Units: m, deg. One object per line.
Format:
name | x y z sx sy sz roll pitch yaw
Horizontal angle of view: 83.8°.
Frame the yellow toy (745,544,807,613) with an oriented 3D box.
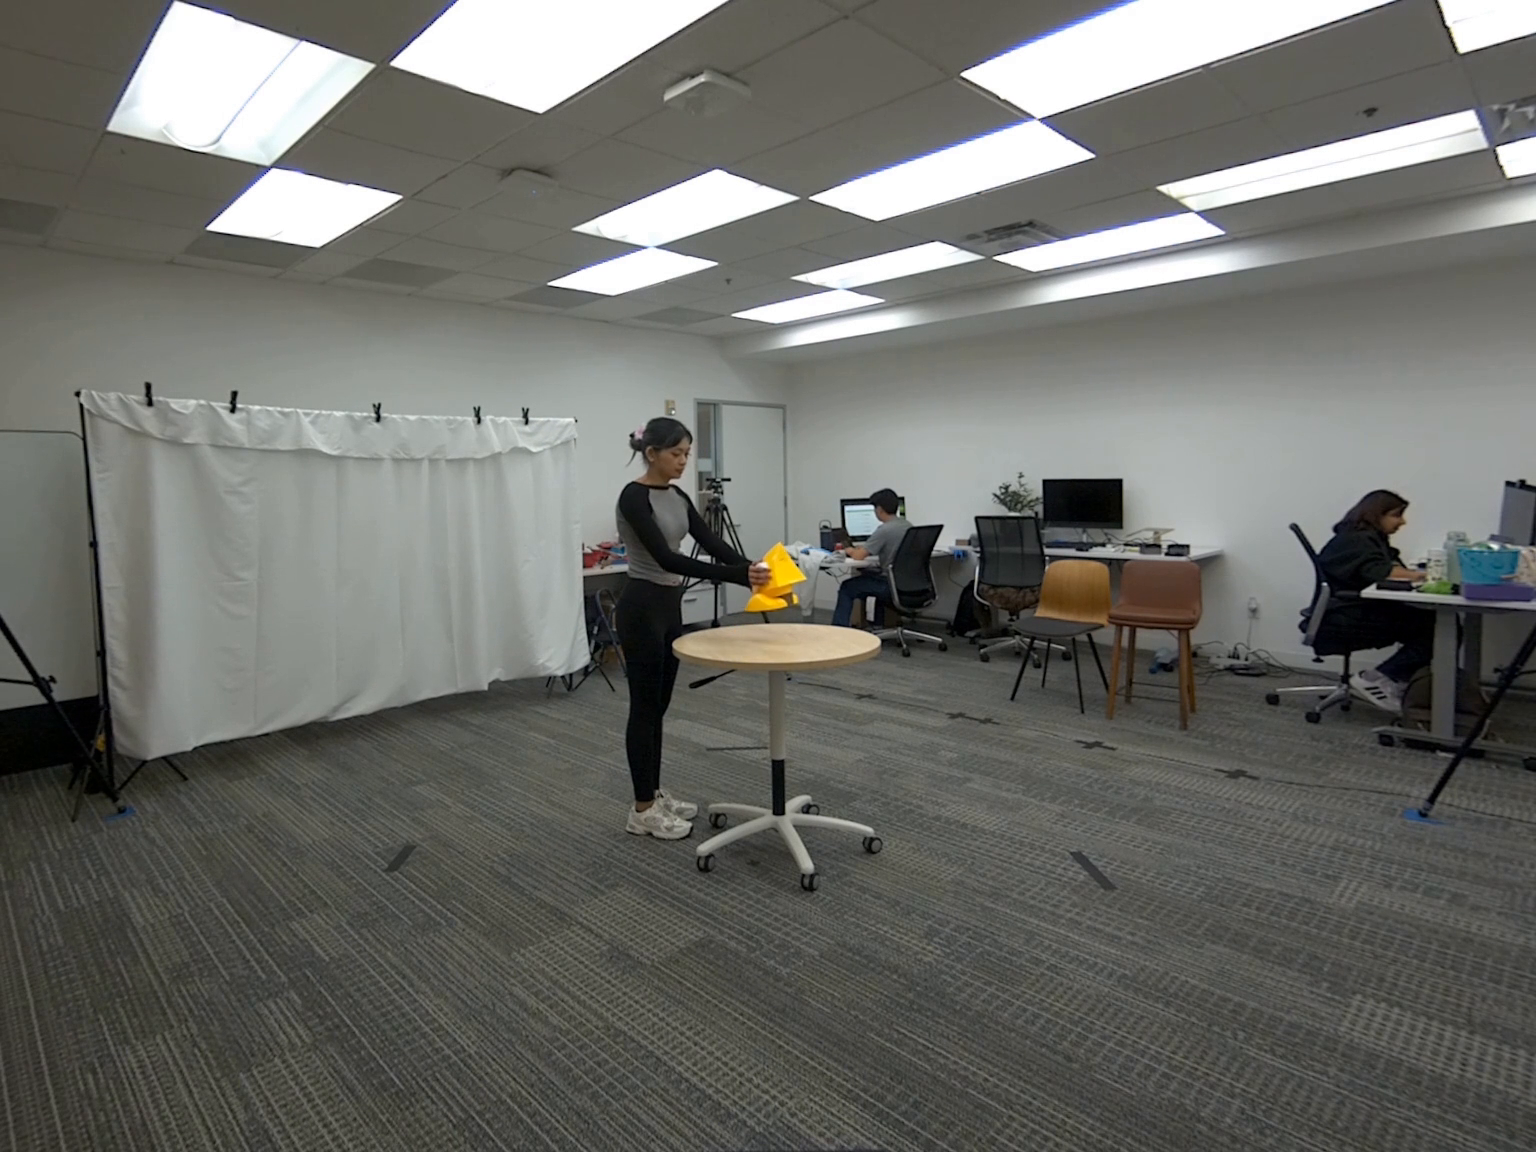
yellow toy | 0.006 0.007 3.132 0.197 0.230 0.200 -8 2 31
